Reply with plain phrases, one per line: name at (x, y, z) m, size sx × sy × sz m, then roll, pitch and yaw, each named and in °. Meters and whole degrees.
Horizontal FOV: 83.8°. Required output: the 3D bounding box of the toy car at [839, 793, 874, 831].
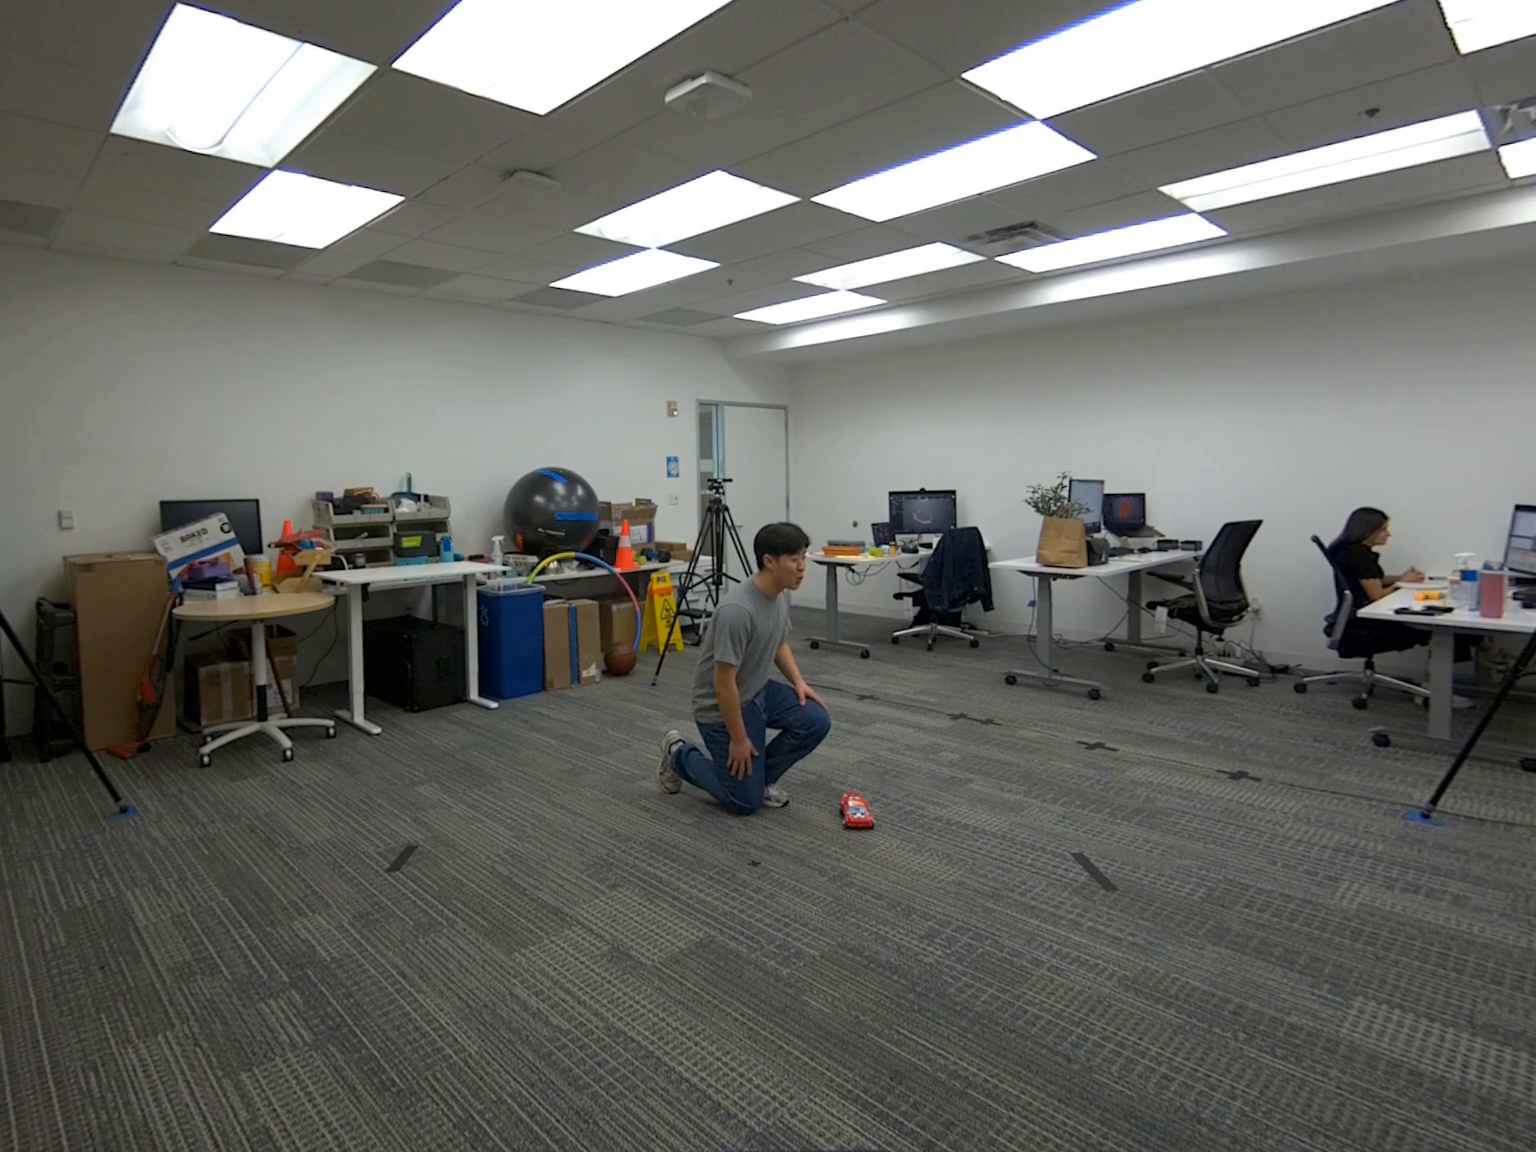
toy car at (0.364, 0.962, 3.496) m, size 0.130 × 0.082 × 0.258 m, roll -3°, pitch 17°, yaw 0°
